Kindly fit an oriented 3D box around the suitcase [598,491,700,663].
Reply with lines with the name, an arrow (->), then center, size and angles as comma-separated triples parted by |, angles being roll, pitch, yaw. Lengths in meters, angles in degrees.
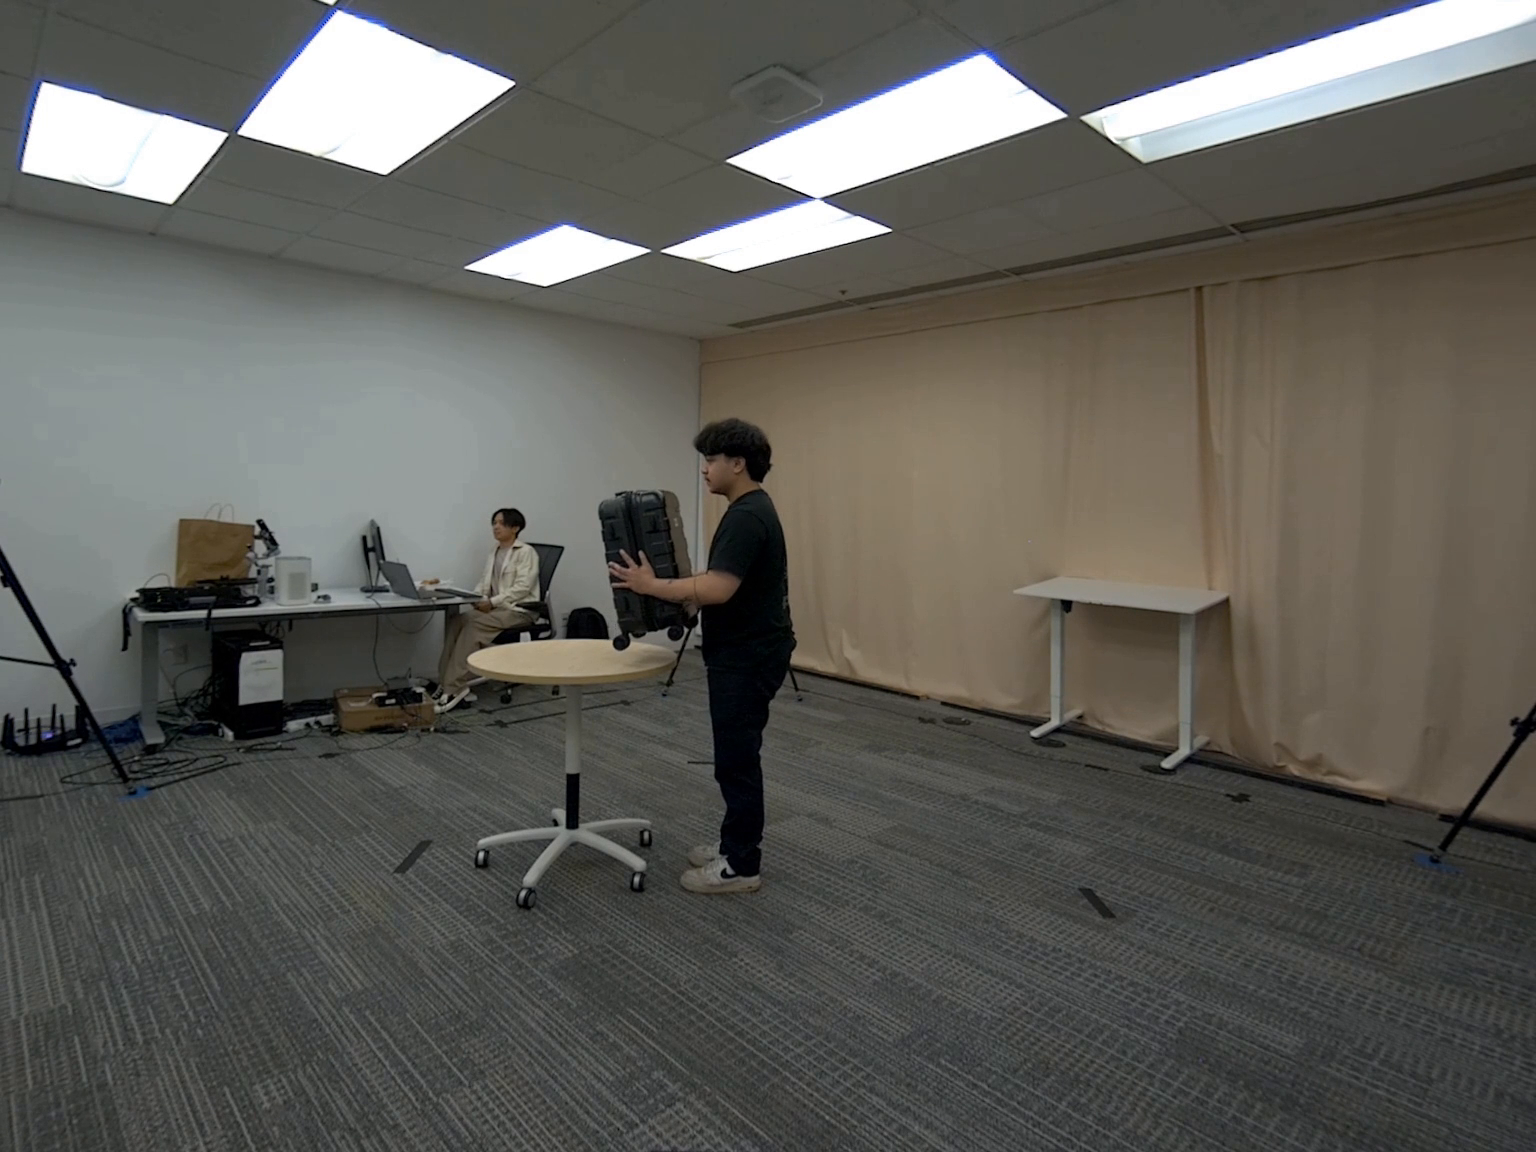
suitcase -> -0.439, -0.039, 3.089 | 0.249, 0.548, 0.375 | -9, 4, 7
